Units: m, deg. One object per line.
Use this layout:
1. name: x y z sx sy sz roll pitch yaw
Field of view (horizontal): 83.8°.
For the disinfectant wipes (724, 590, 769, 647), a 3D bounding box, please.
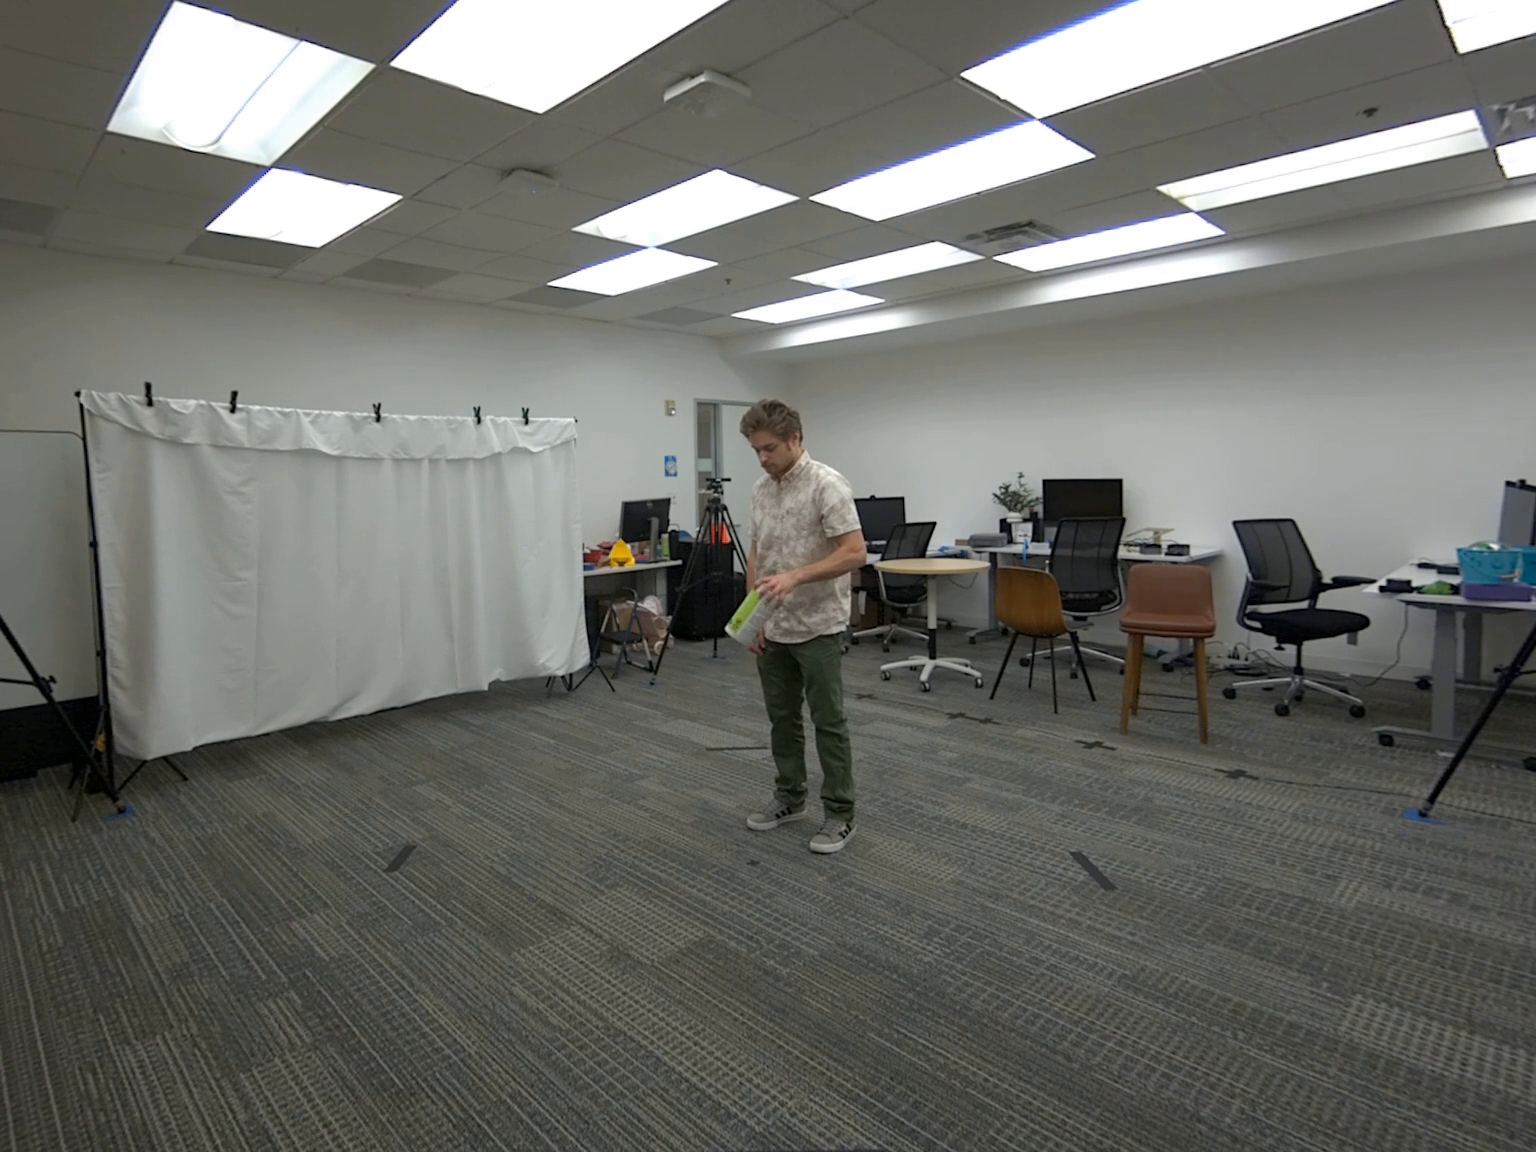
1. disinfectant wipes: -0.057 0.137 3.066 0.117 0.217 0.118 33 5 -5
